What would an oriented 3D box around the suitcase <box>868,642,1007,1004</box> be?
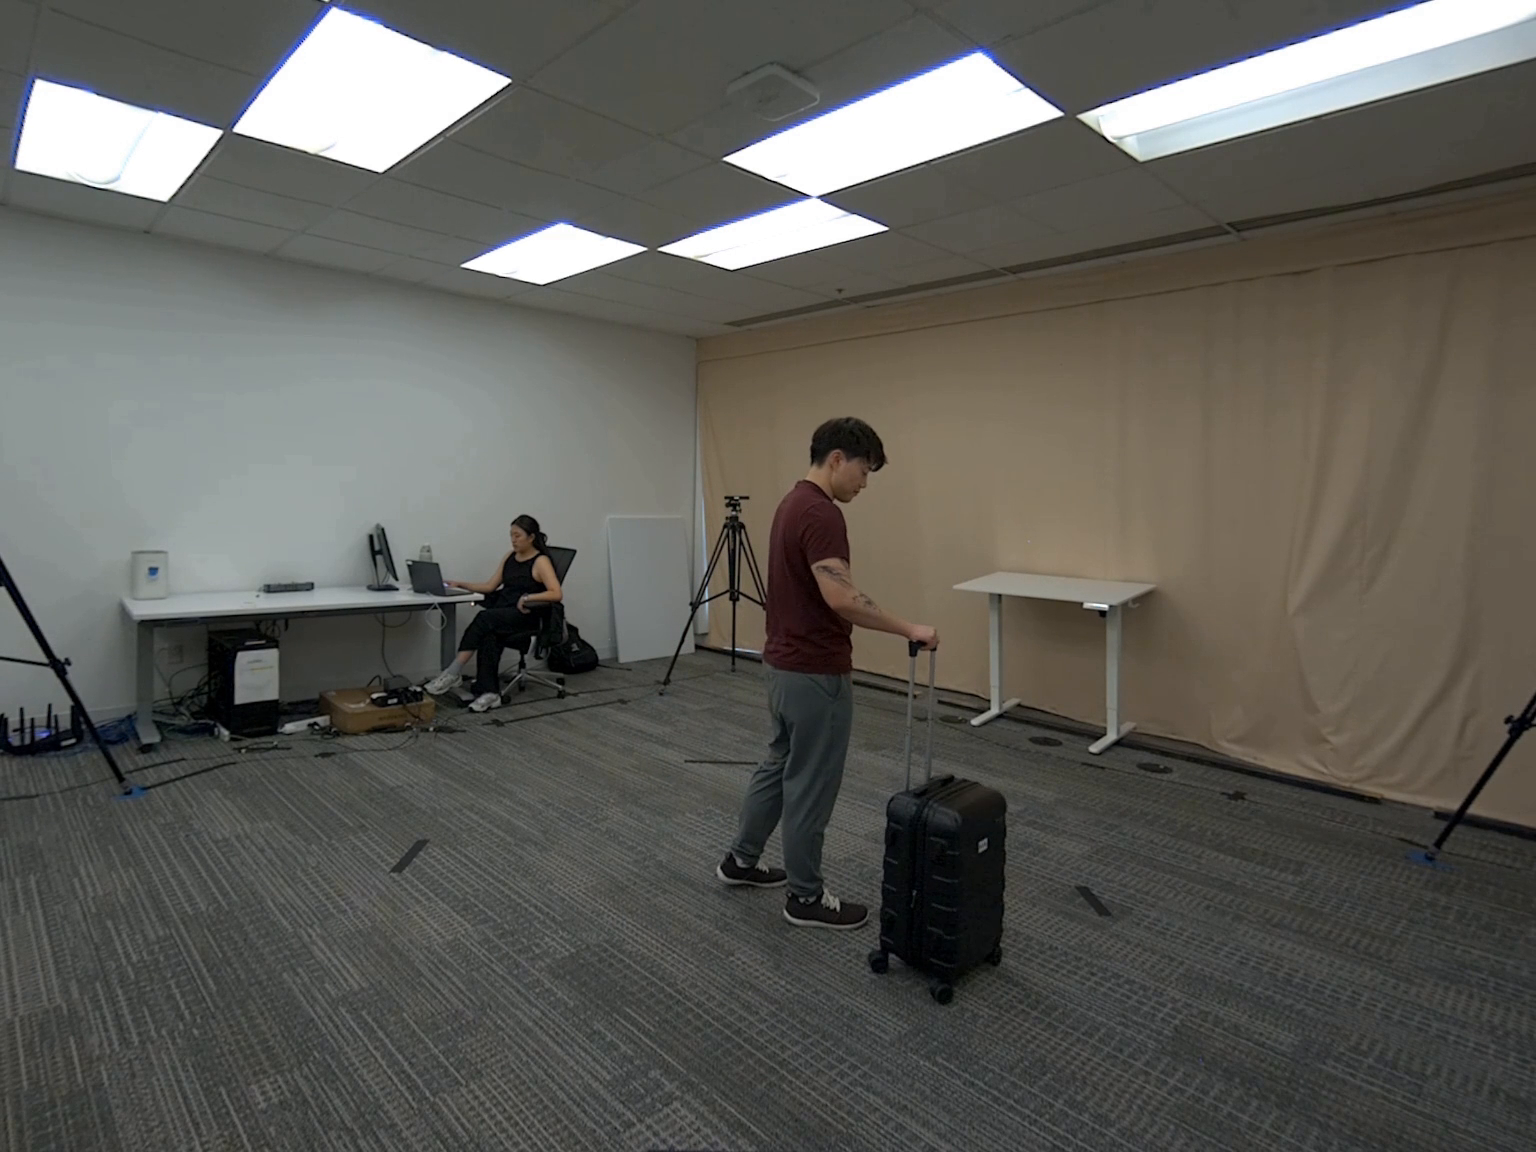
[{"bbox_3d":[0.546,0.701,2.504,0.264,0.977,0.375,7,4,42],"label":"suitcase"}]
